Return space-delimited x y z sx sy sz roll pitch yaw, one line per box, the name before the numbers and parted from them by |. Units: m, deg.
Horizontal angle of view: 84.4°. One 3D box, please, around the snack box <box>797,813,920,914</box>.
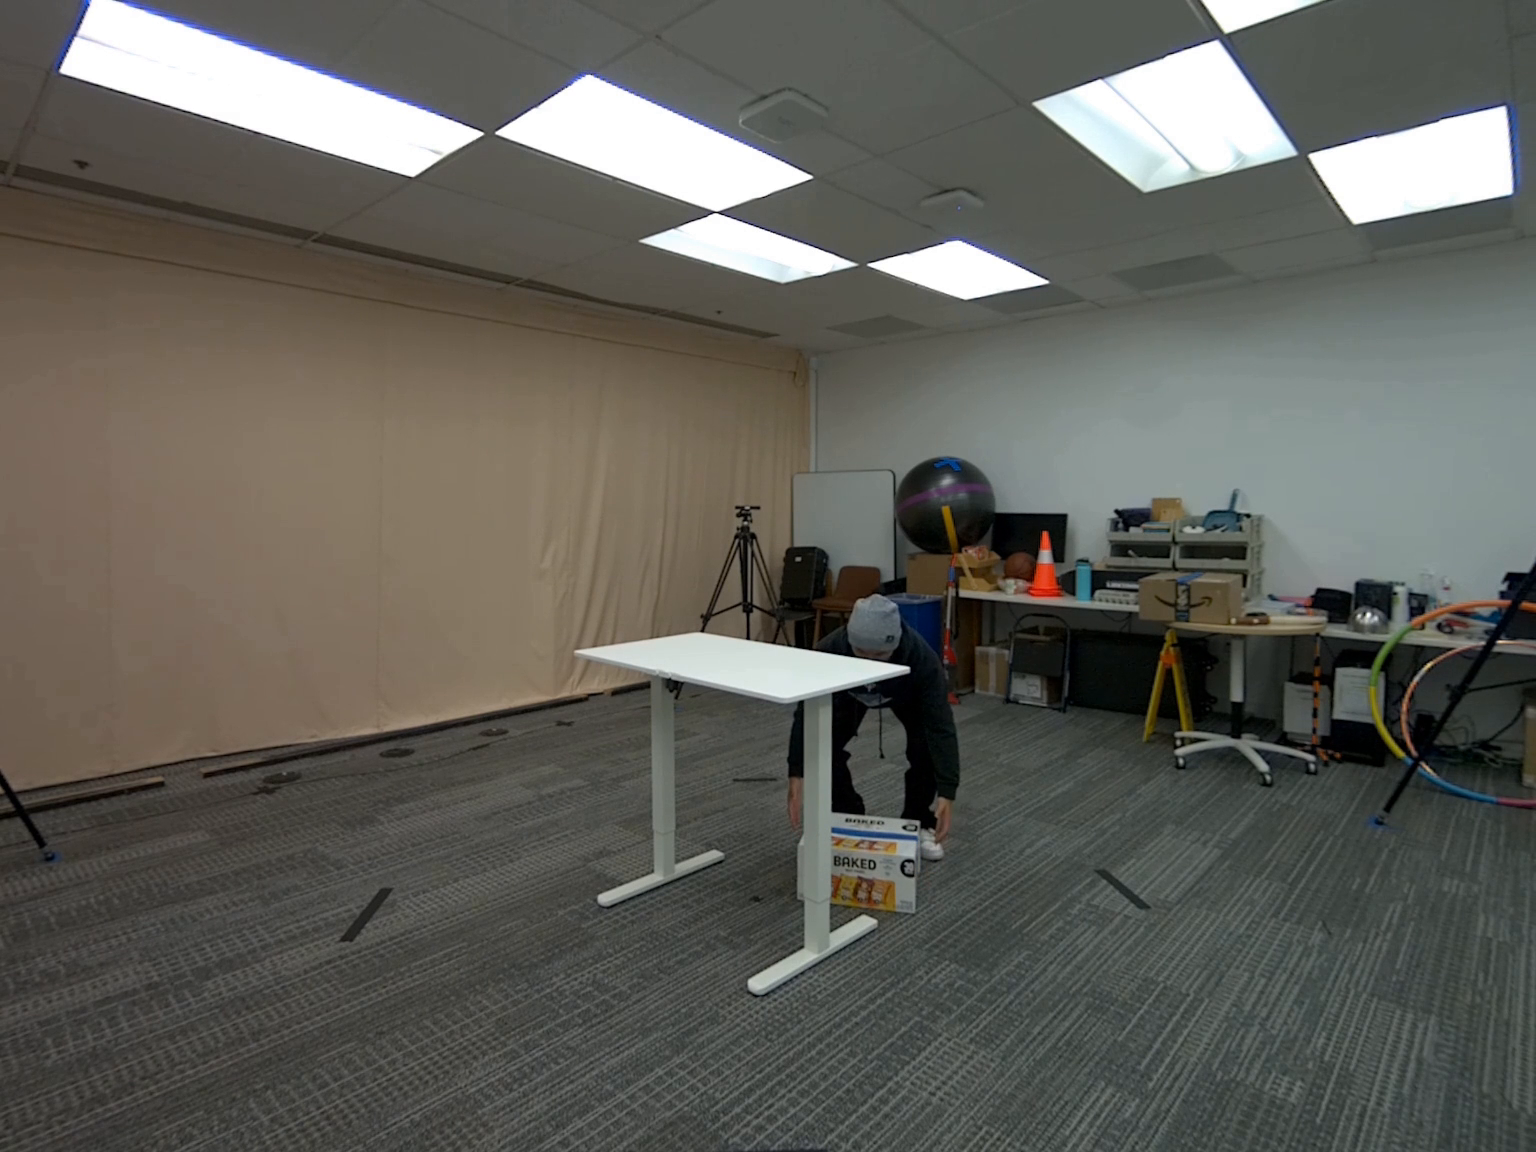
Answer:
snack box | 0.345 1.038 3.068 0.412 0.205 0.336 1 5 15
